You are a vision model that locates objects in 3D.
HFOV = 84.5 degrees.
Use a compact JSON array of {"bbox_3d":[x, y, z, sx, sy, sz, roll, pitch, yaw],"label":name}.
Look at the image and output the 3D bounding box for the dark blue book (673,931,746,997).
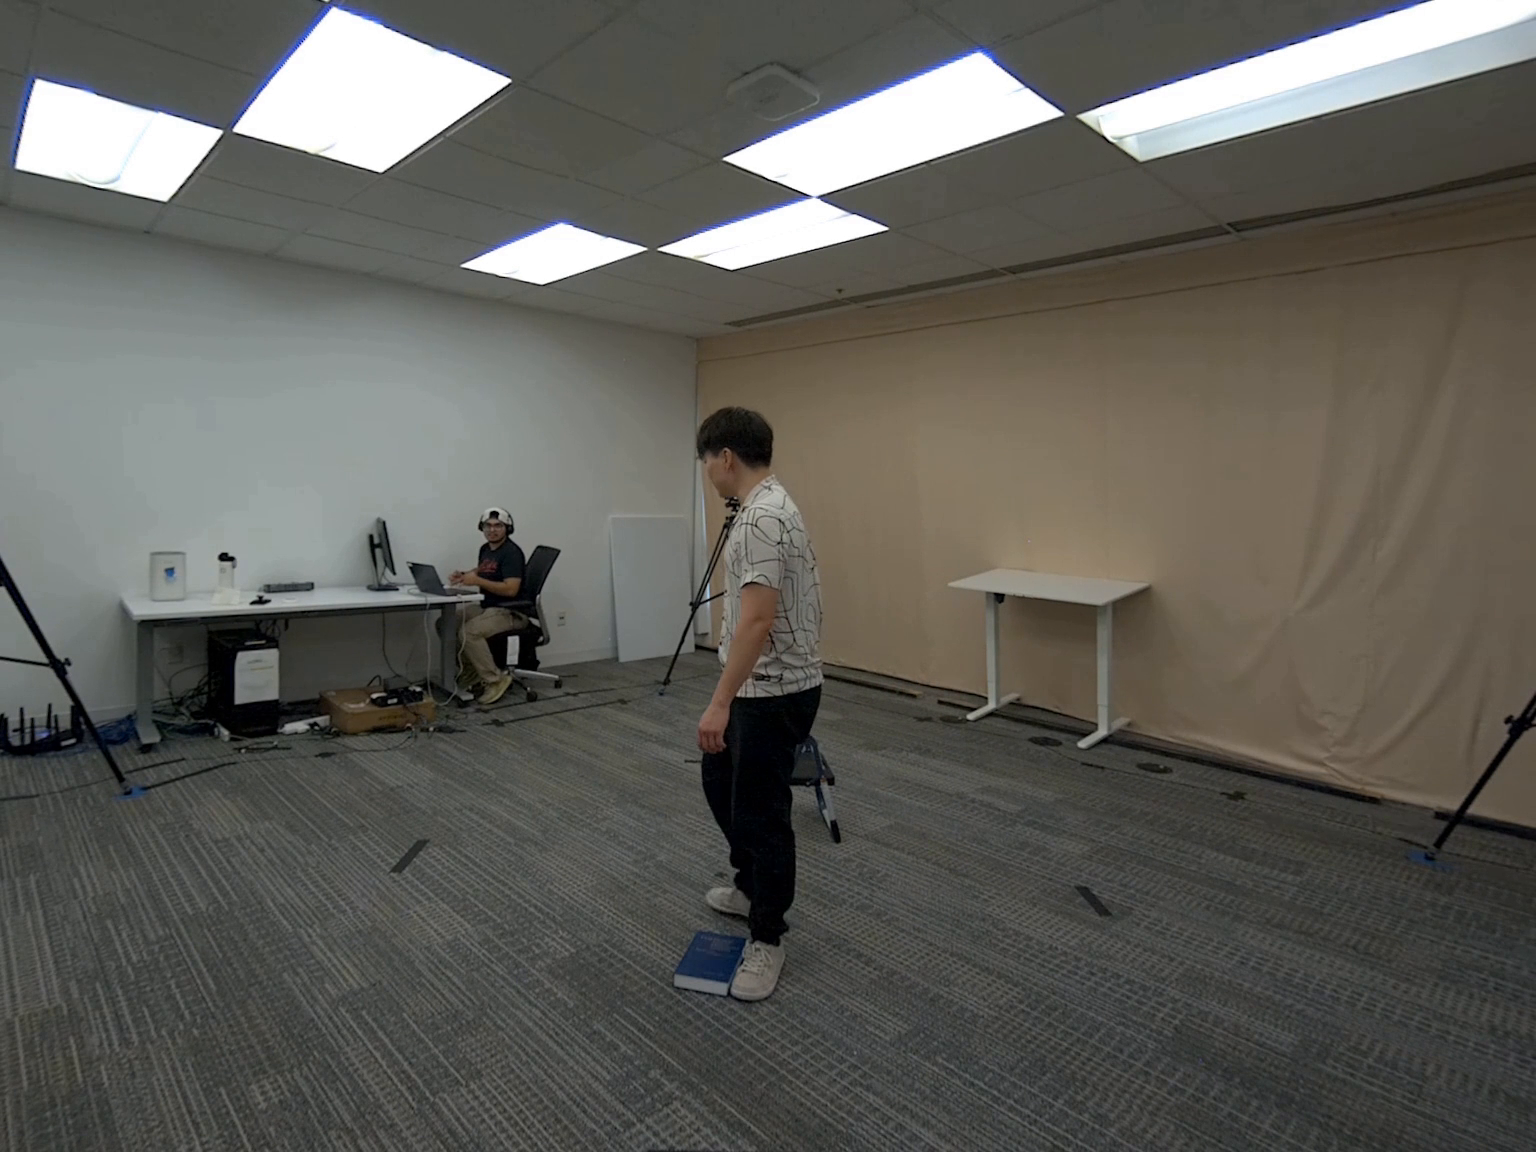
[{"bbox_3d":[-0.168,1.134,2.479,0.165,0.045,0.243,4,5,12],"label":"dark blue book"}]
